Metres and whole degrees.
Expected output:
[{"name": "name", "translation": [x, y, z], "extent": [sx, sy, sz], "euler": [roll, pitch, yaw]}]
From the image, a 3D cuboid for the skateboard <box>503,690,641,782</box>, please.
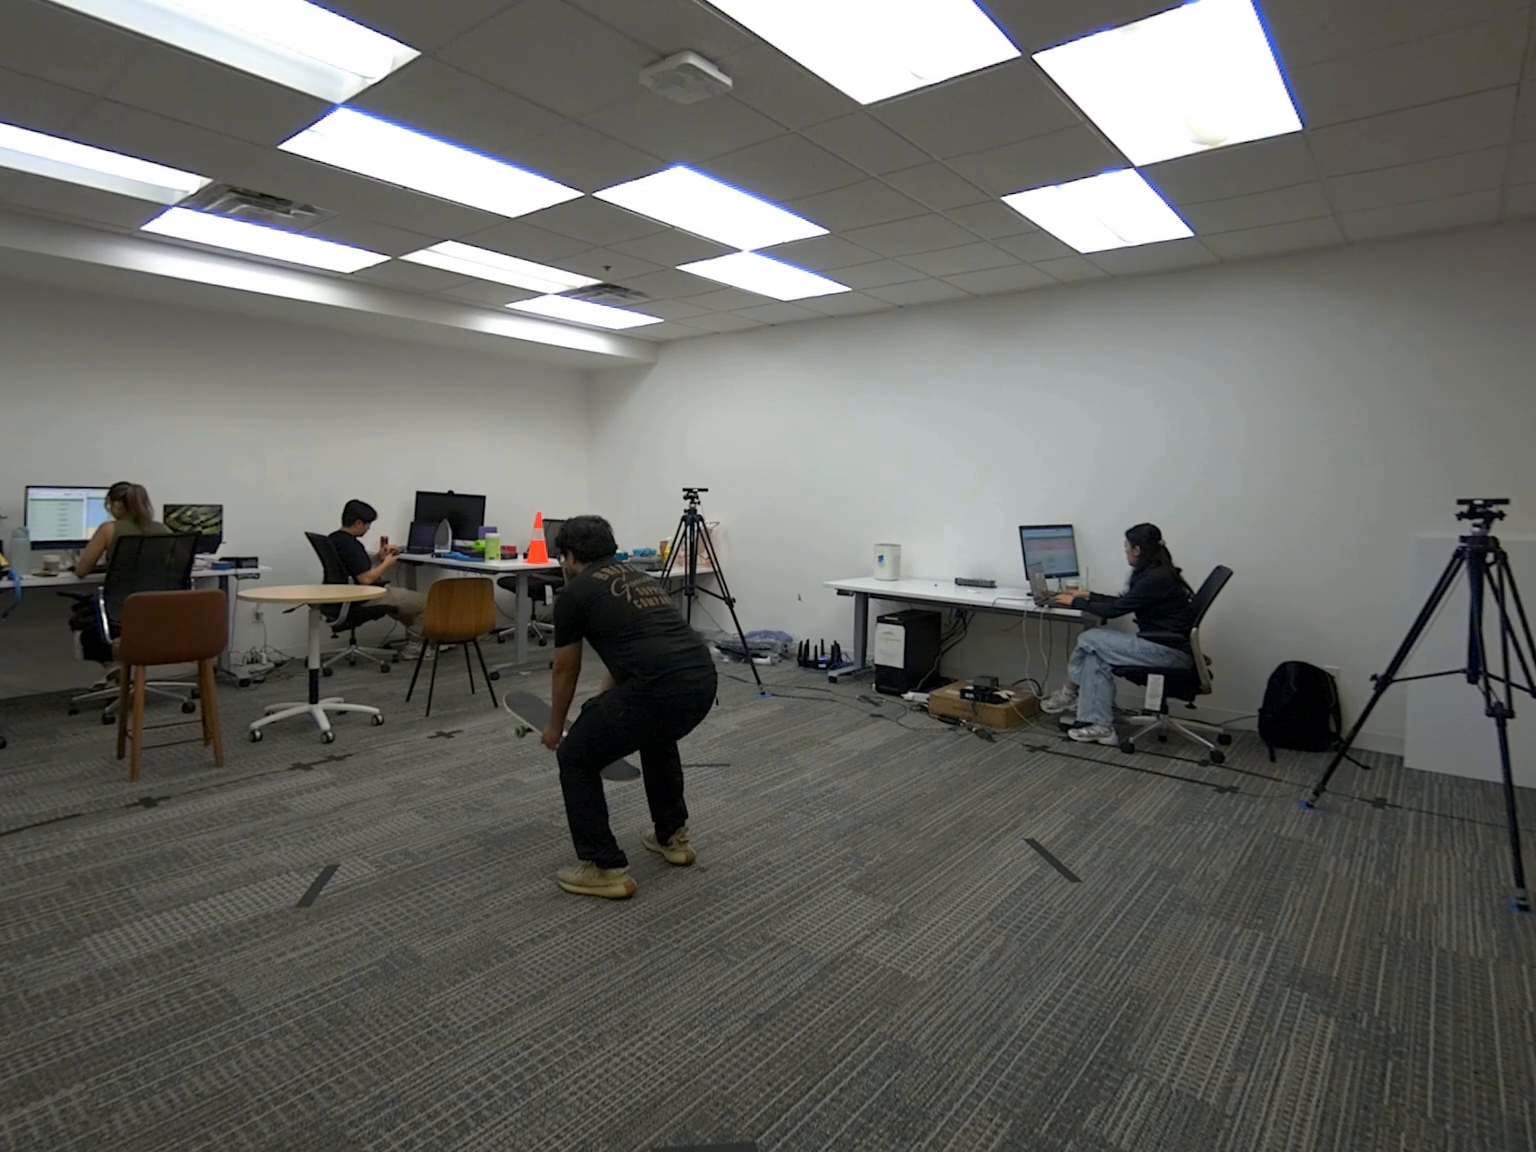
[{"name": "skateboard", "translation": [-0.810, 0.658, 3.363], "extent": [0.817, 0.109, 0.187], "euler": [23, 13, 38]}]
